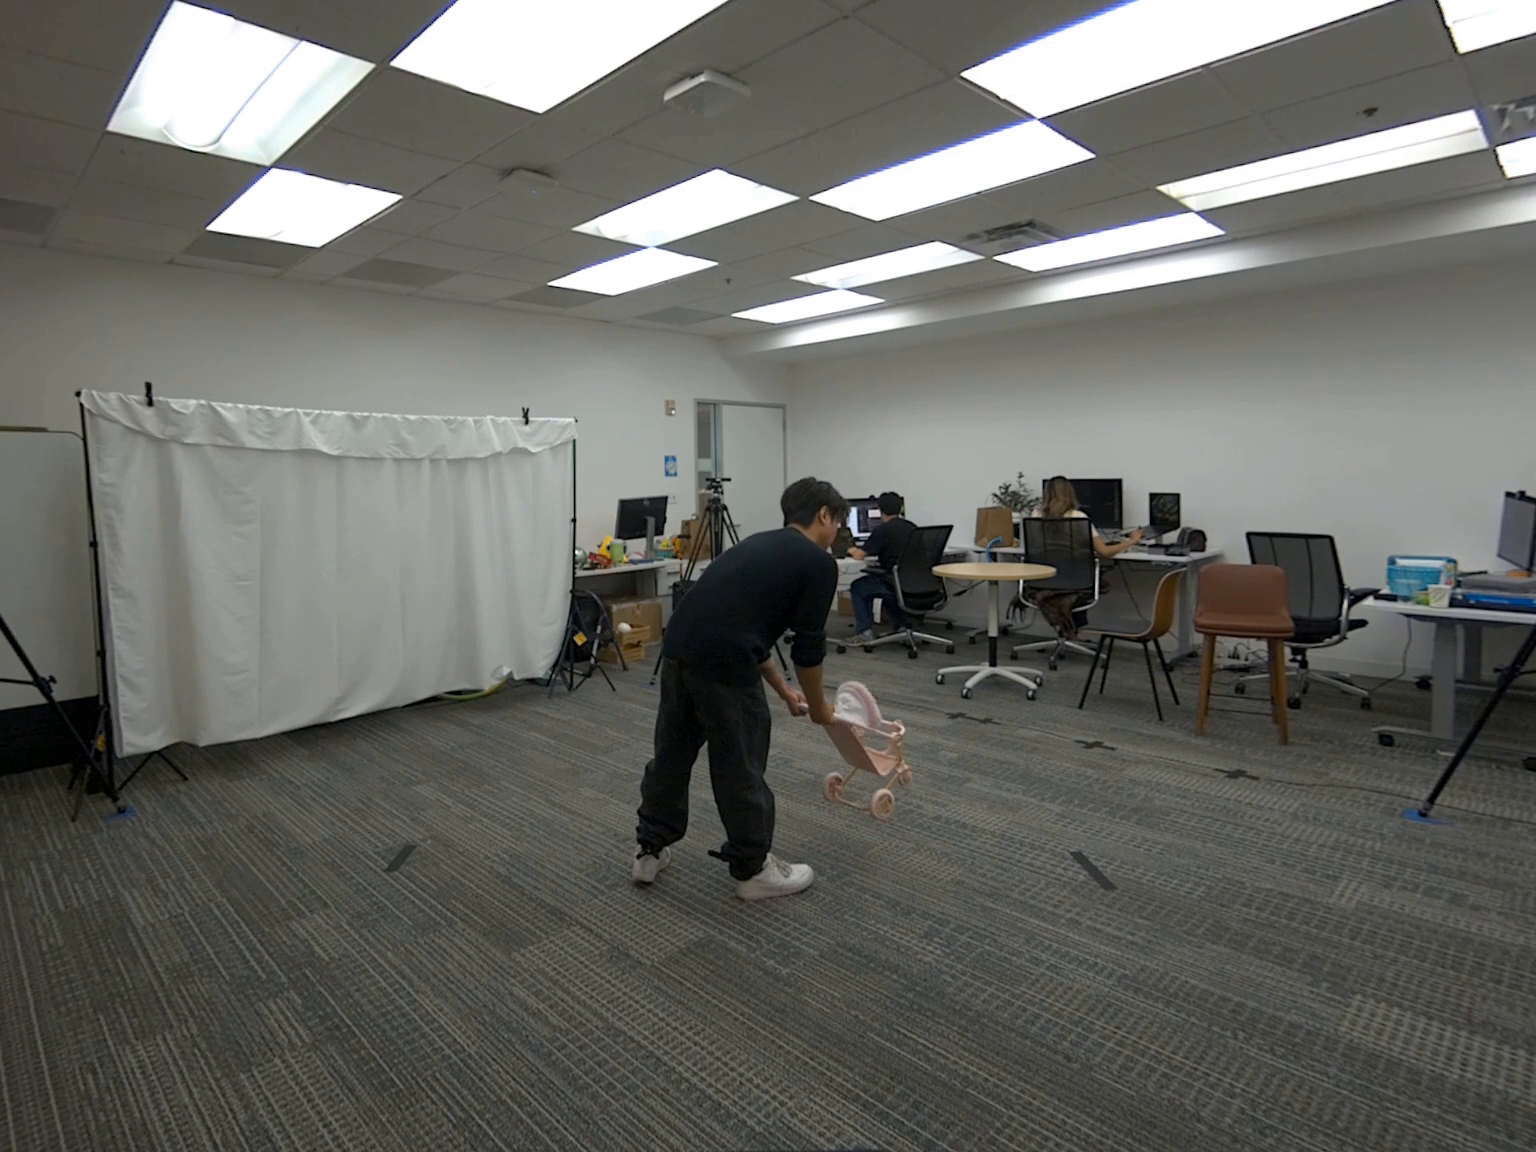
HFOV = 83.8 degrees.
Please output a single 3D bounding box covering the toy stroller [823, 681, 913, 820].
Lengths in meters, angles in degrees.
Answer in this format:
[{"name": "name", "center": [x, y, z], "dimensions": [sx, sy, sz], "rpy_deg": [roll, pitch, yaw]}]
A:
[{"name": "toy stroller", "center": [0.353, 0.620, 3.143], "dimensions": [0.338, 0.526, 0.289], "rpy_deg": [-29, 17, -28]}]
